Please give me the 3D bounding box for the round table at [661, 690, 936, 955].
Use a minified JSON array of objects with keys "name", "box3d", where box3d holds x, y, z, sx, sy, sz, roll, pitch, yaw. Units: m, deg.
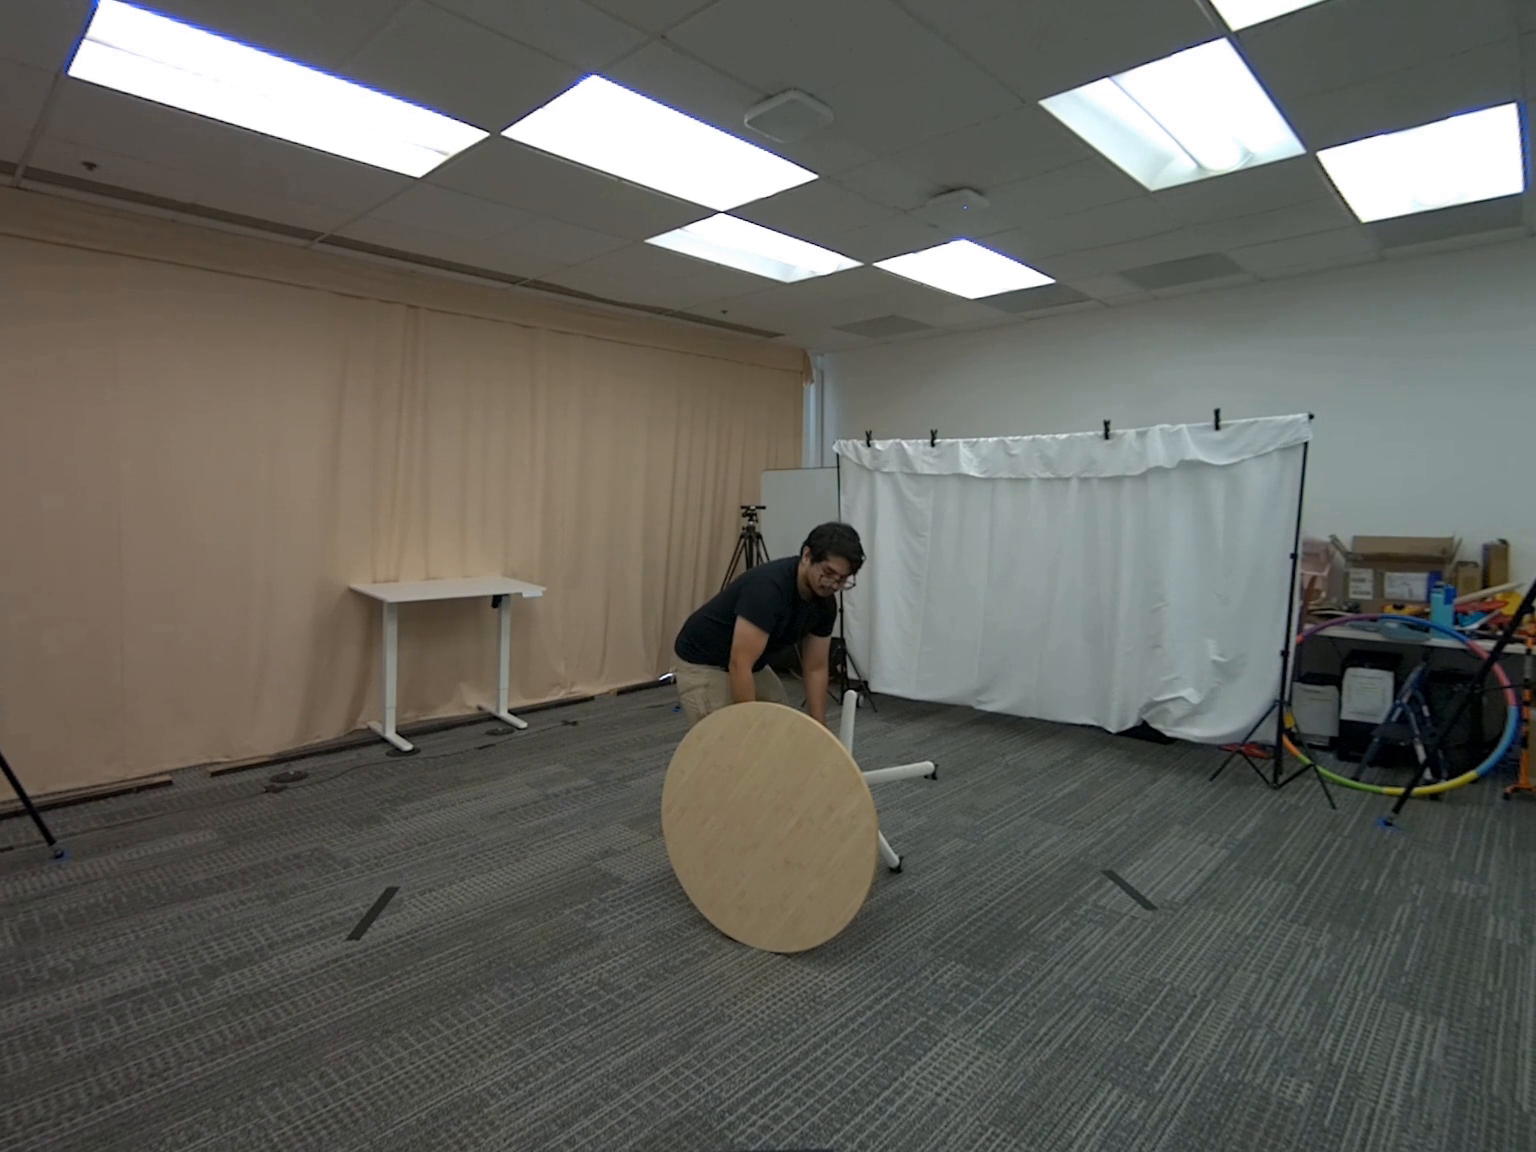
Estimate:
[{"name":"round table","box3d":[0.168,0.785,2.997,0.808,0.785,0.764,2,0,29]}]
